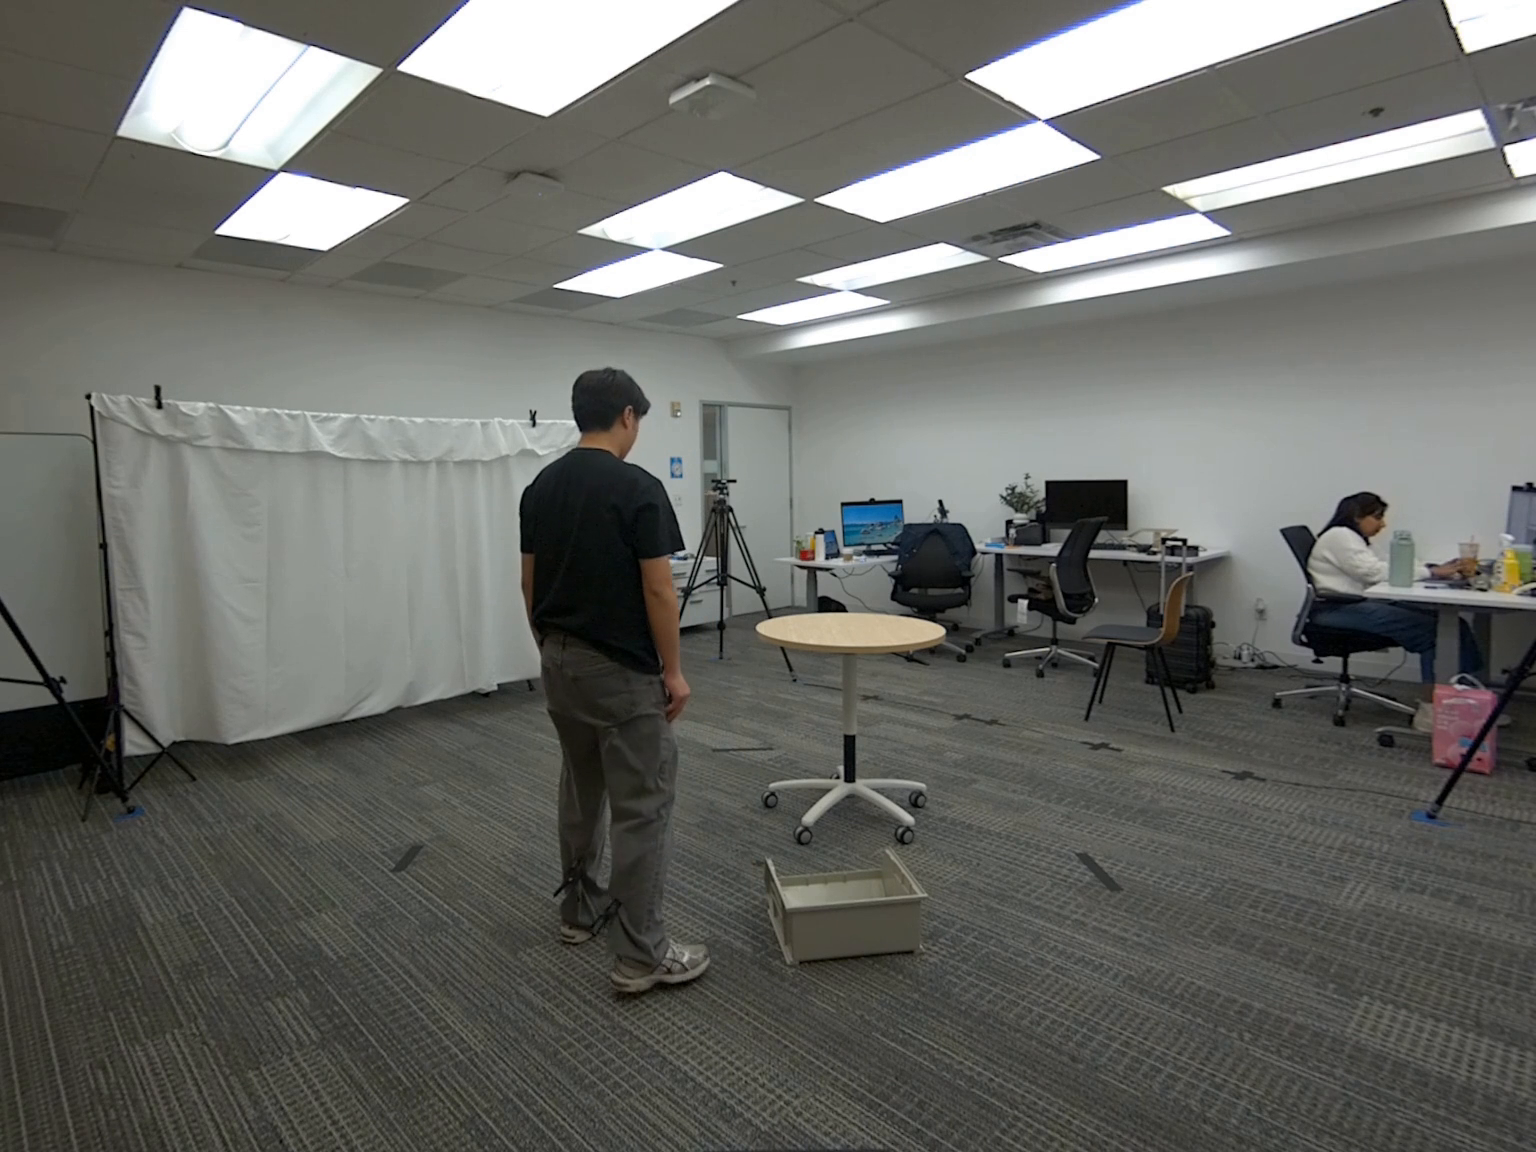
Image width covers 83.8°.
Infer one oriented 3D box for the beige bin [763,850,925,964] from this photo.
[{"bbox_3d":[0.229,1.008,2.649,0.419,0.188,0.383,-1,7,-10],"label":"beige bin"}]
